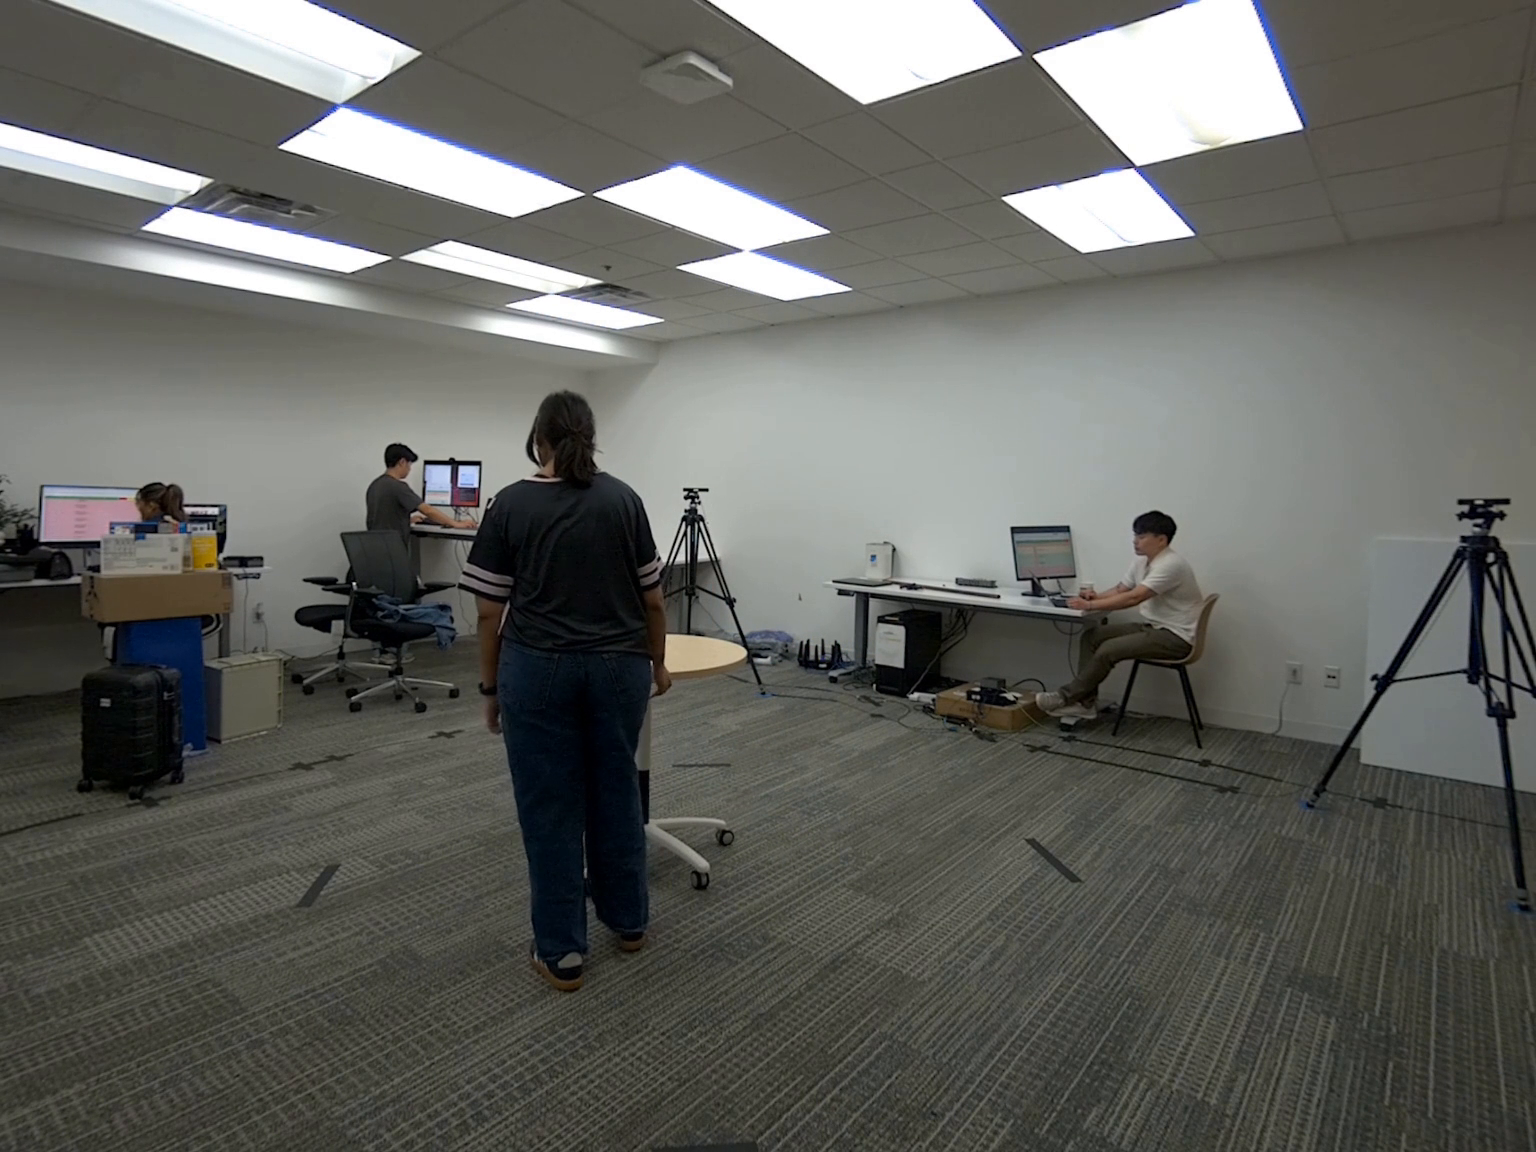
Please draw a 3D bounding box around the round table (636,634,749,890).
[{"bbox_3d":[-0.468,0.671,3.165,0.763,0.791,0.767,0,4,-2],"label":"round table"}]
